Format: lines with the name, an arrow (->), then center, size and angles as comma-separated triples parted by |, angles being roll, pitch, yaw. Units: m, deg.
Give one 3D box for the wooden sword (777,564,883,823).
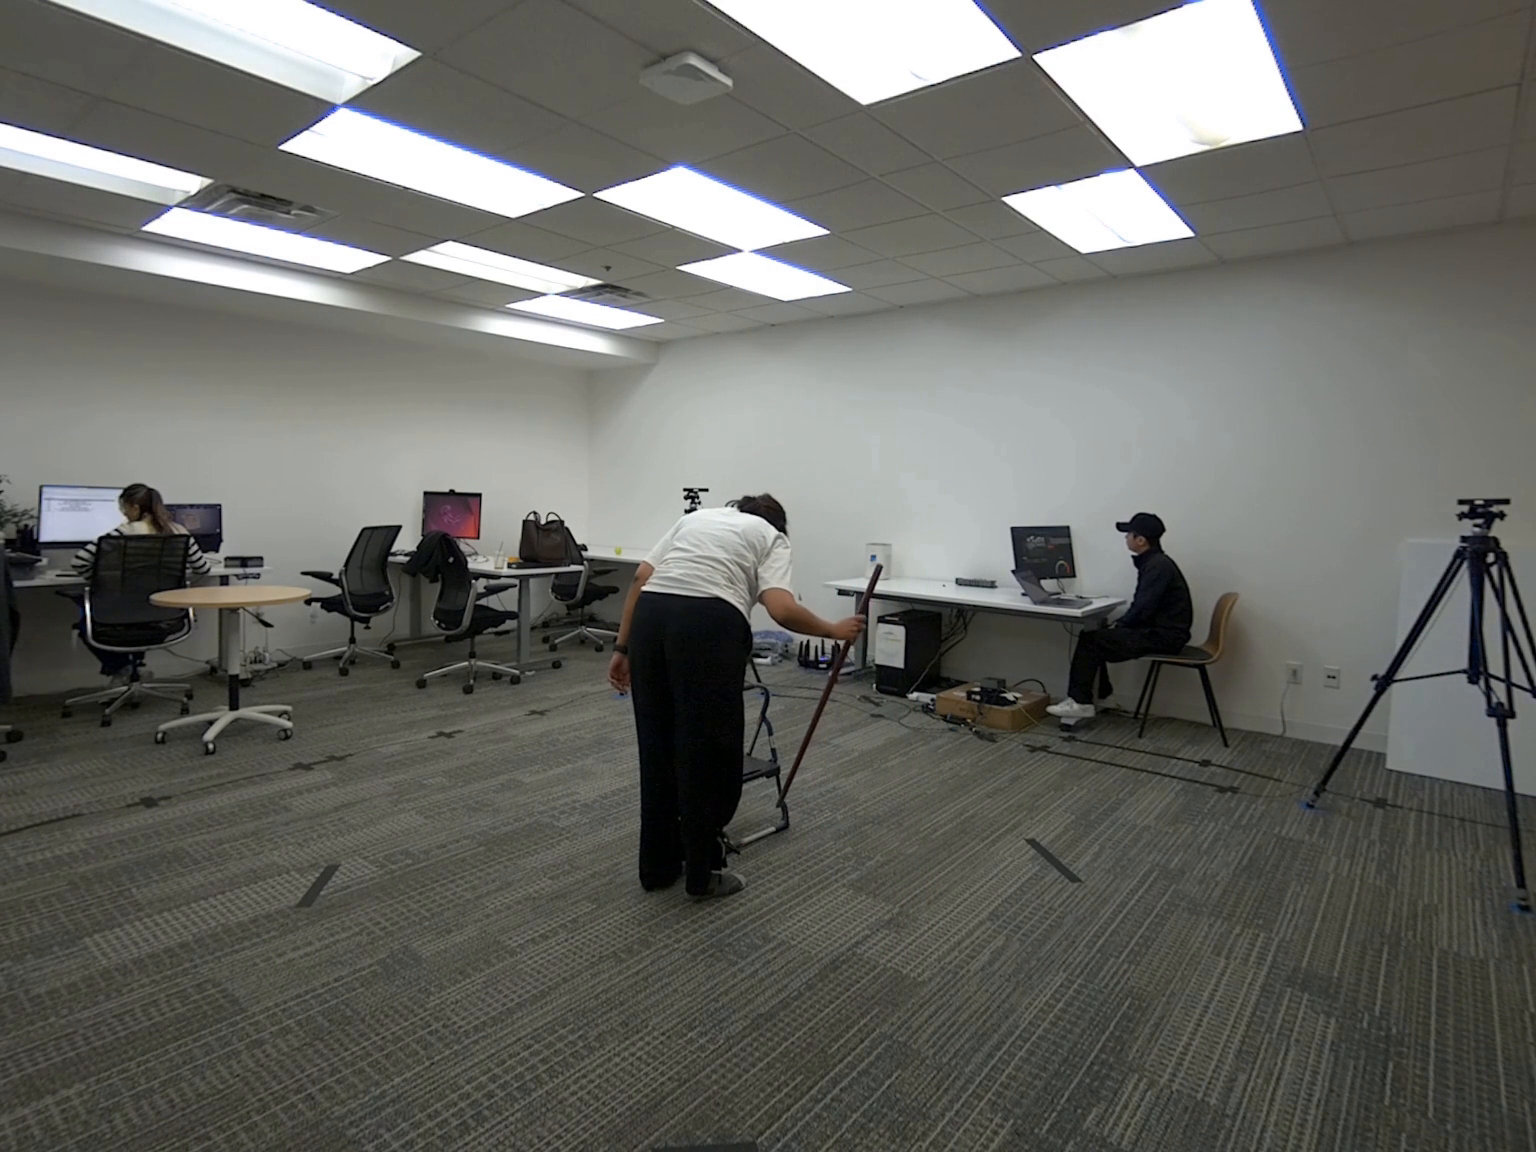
wooden sword -> 0.203, 0.423, 3.055 | 0.053, 1.017, 0.023 | 30, 16, 33
